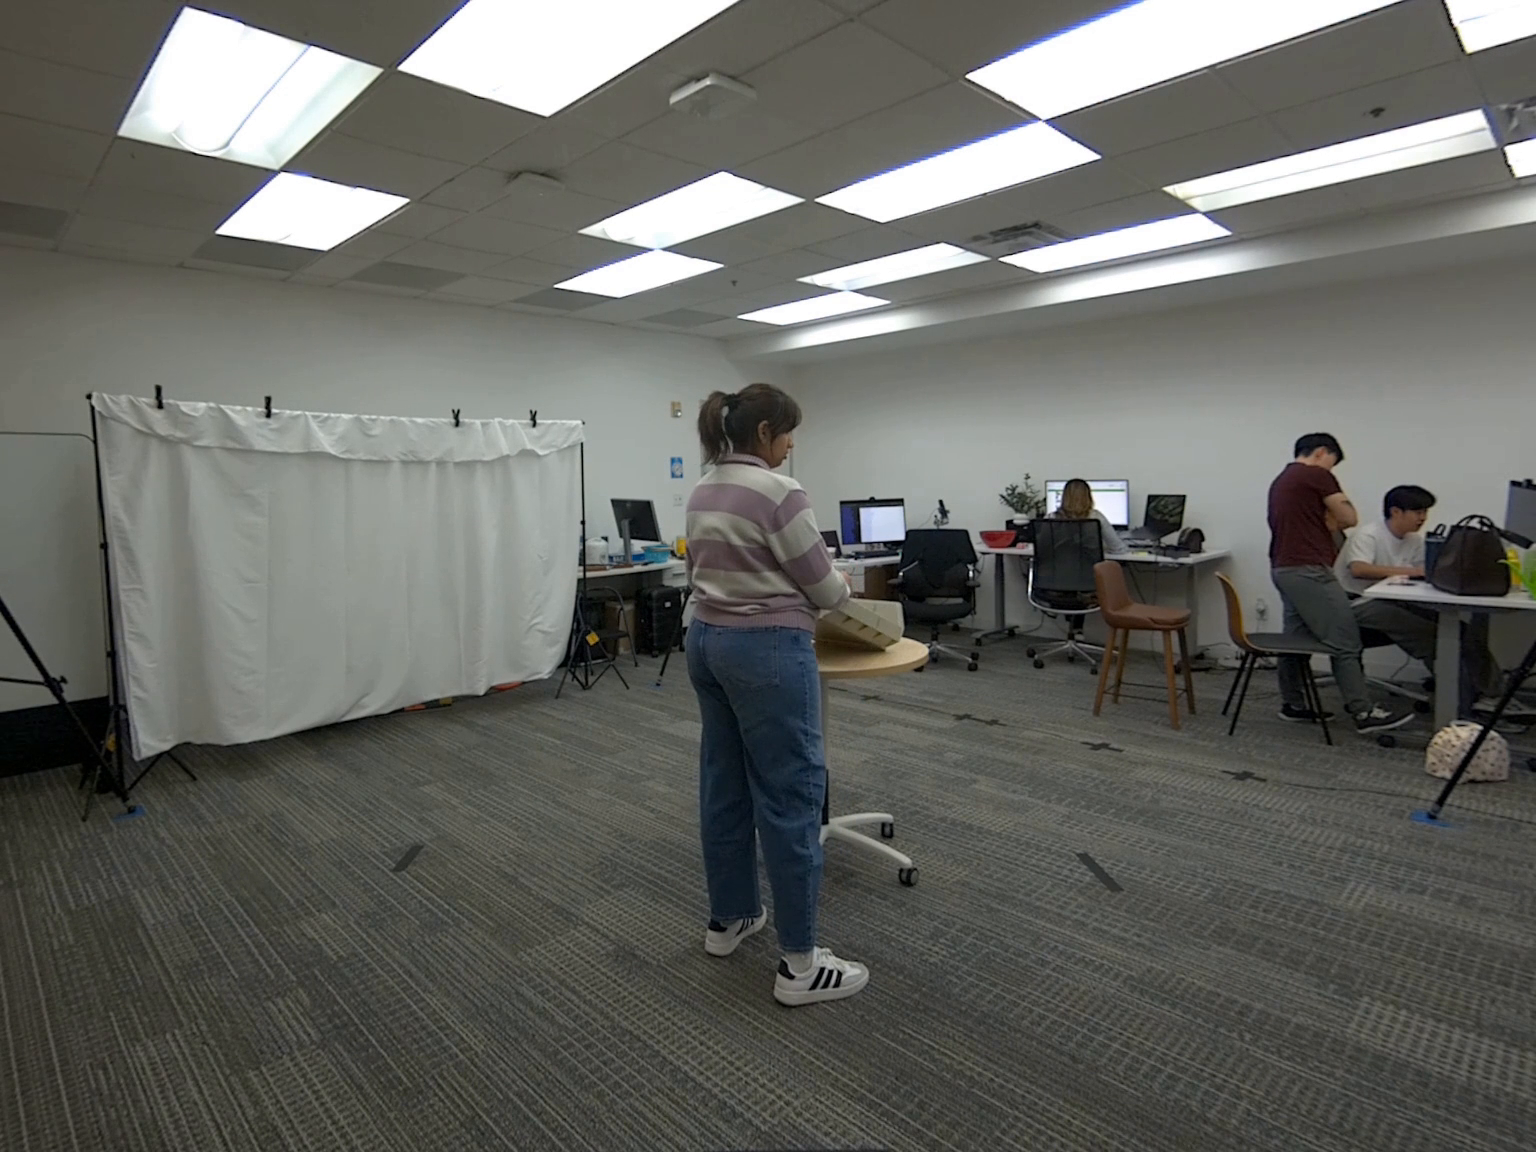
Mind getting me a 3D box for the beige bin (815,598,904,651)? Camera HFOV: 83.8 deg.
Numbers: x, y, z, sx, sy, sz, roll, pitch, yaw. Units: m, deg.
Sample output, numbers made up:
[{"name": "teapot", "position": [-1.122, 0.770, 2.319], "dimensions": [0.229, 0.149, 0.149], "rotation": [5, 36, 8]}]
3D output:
[{"name": "beige bin", "position": [0.211, 0.110, 2.984], "dimensions": [0.388, 0.190, 0.406], "rotation": [2, -17, 41]}]
